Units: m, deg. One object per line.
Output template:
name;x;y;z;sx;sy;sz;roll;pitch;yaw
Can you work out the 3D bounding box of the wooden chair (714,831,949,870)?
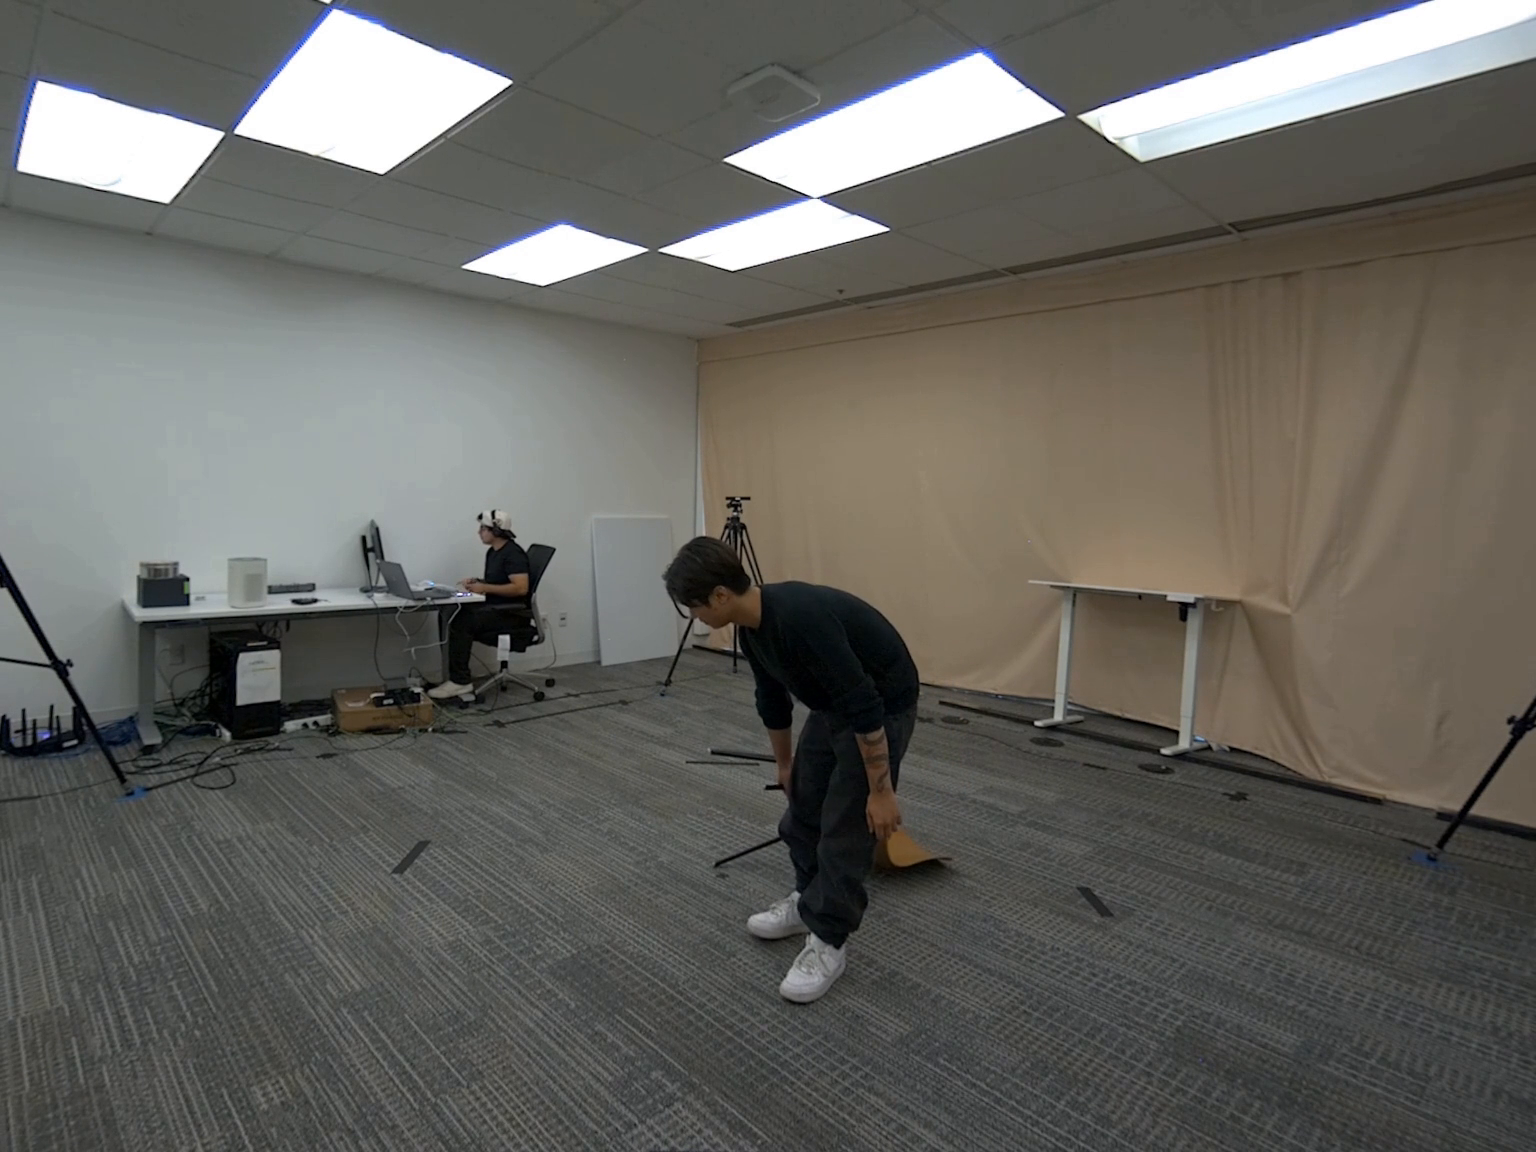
wooden chair;0.262;0.853;3.145;0.861;0.522;0.488;1;4;-26
